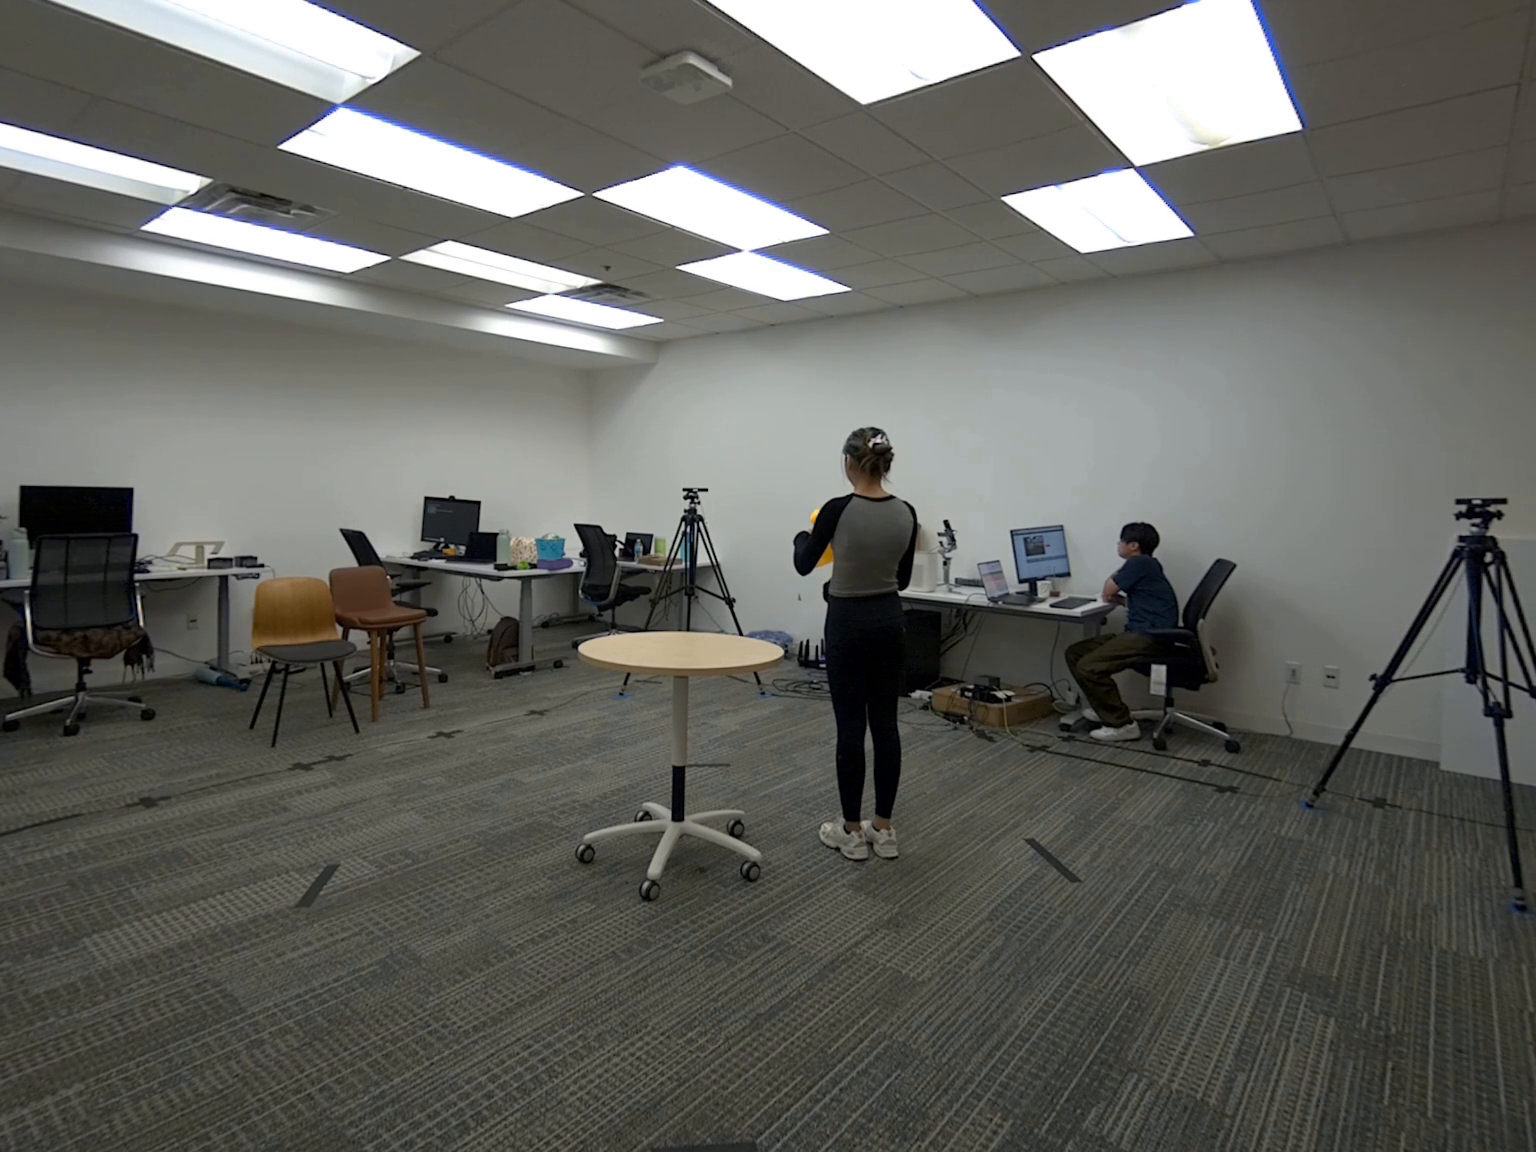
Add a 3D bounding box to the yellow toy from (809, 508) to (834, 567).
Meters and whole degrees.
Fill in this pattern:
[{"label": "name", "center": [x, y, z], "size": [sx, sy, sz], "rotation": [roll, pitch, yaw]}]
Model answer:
[{"label": "yellow toy", "center": [0.232, -0.139, 3.662], "size": [0.201, 0.231, 0.196], "rotation": [33, -6, -14]}]
